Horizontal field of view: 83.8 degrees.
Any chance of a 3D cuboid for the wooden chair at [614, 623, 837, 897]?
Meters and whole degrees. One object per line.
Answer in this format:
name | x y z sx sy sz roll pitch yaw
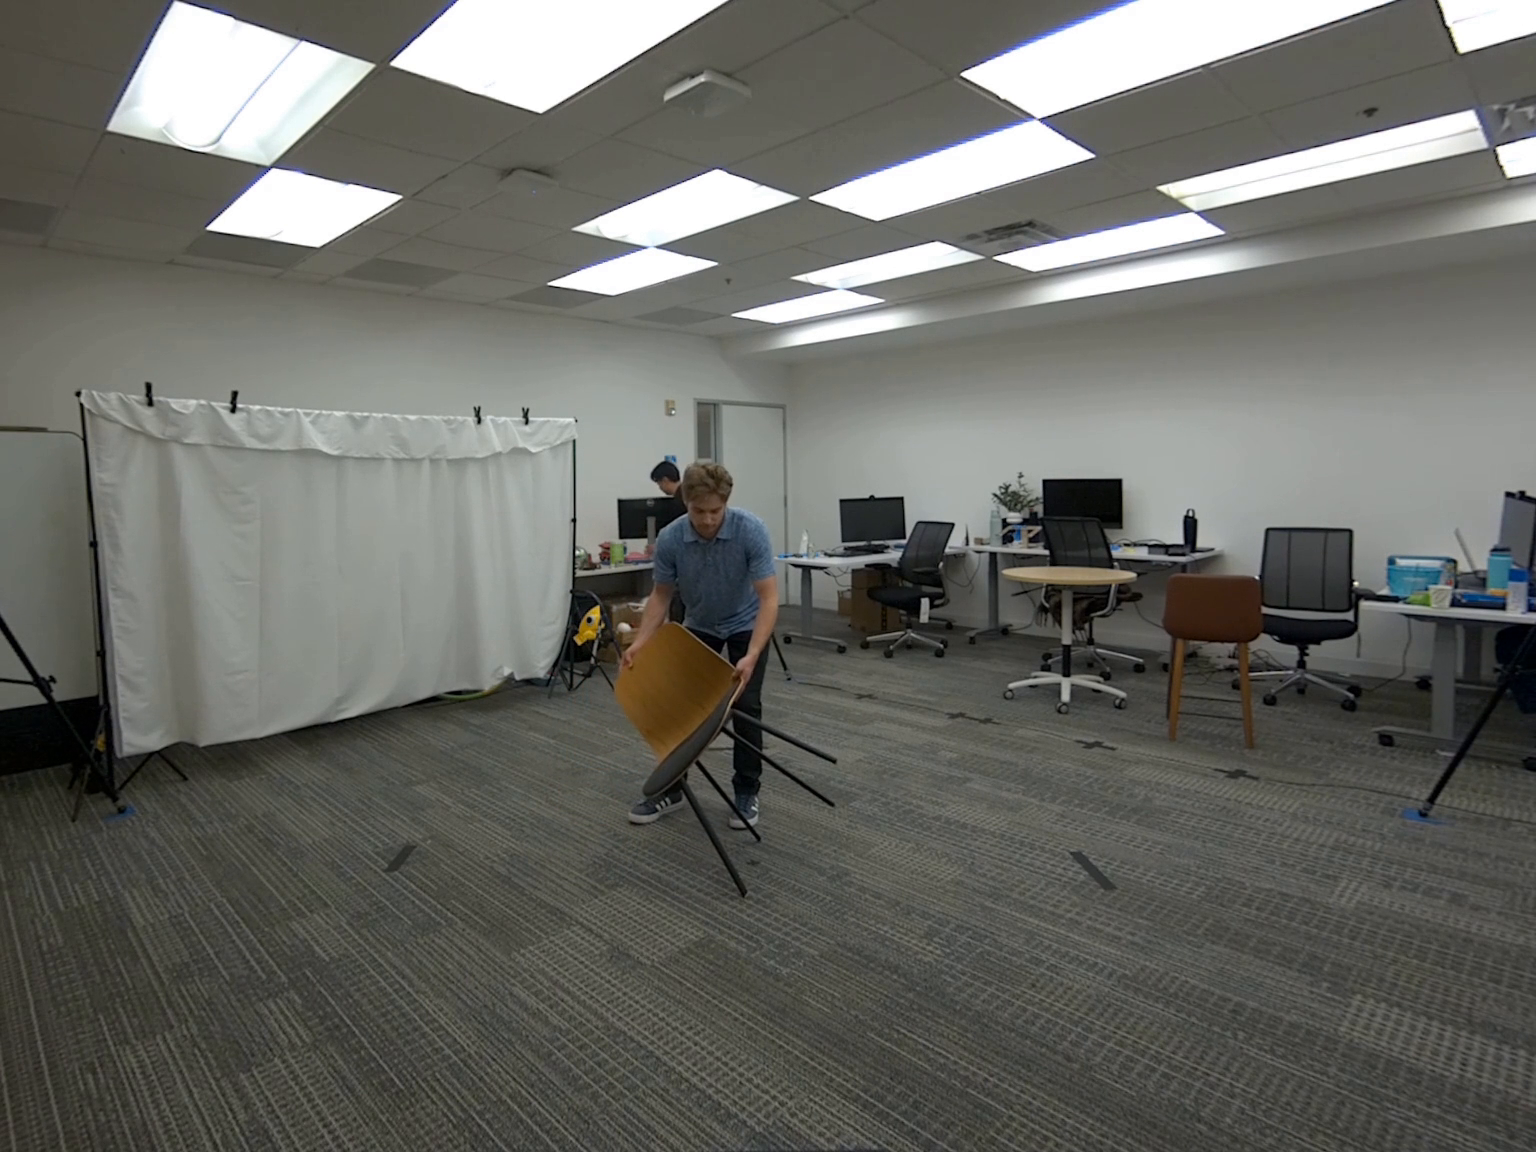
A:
wooden chair | -0.222 0.604 3.059 0.886 0.478 0.518 44 9 7
